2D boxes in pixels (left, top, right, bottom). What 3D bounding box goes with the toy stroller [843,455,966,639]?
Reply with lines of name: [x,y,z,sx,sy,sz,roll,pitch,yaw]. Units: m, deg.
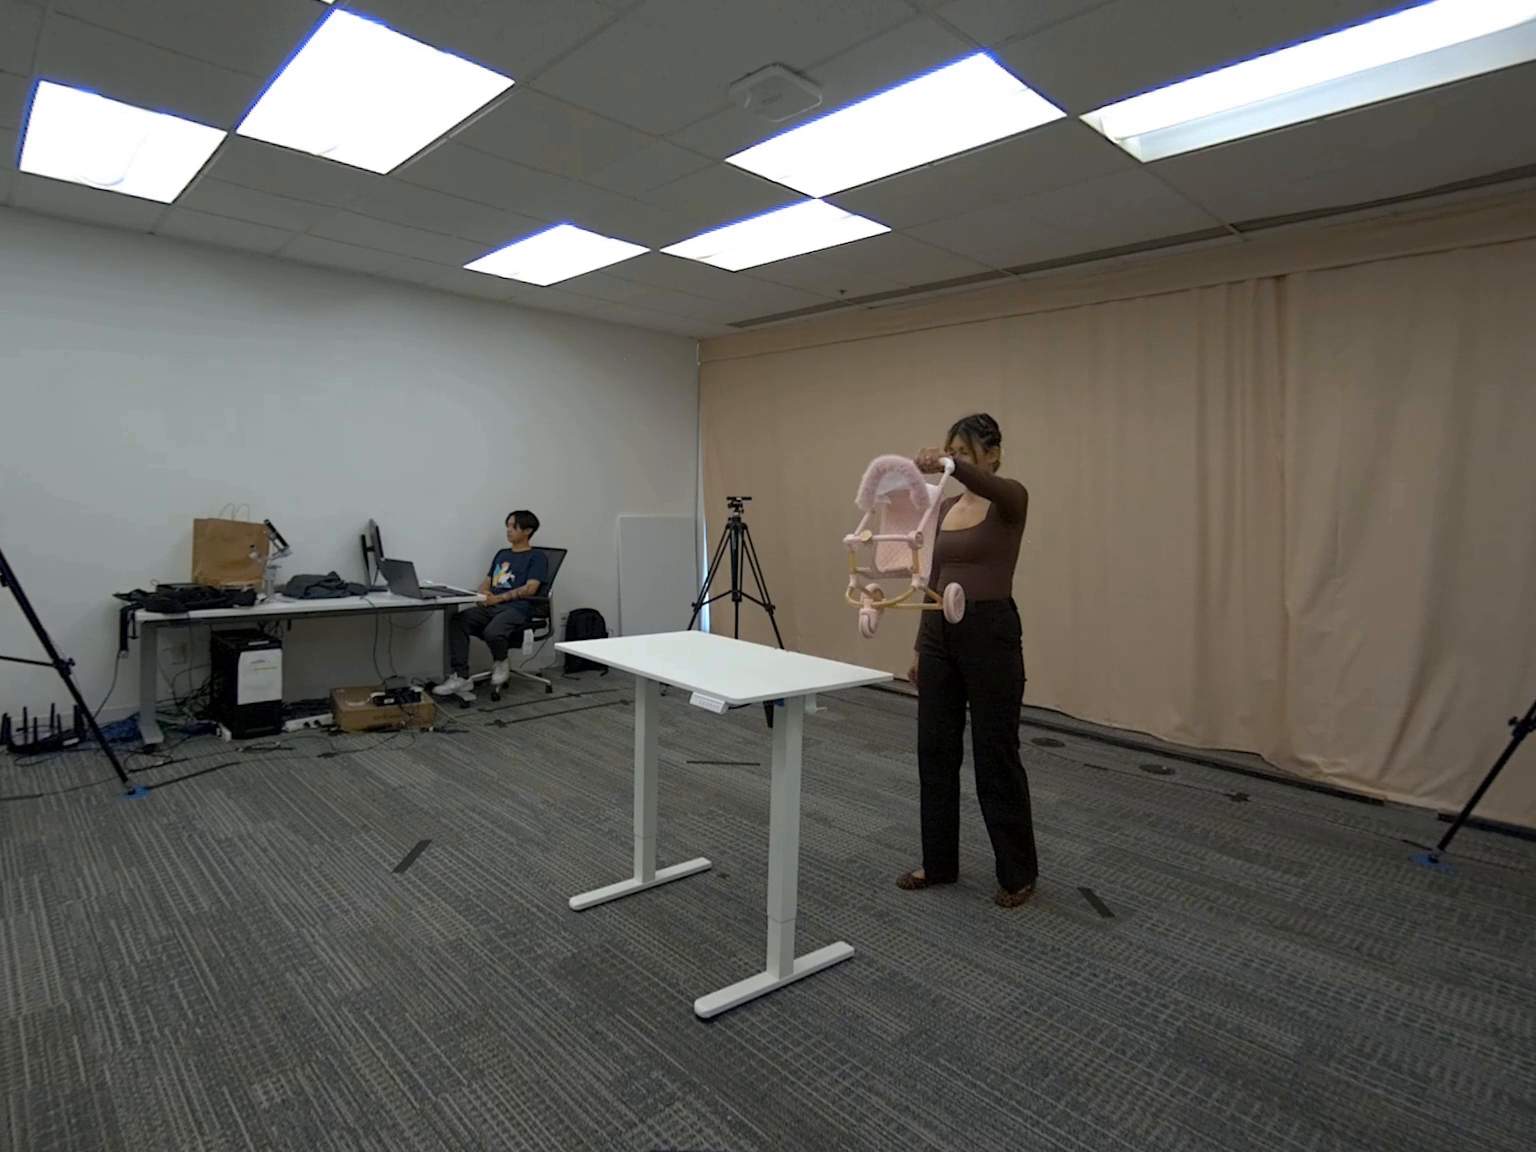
toy stroller: [0.351,-0.086,2.315,0.288,0.537,0.332,-3,-8,42]
